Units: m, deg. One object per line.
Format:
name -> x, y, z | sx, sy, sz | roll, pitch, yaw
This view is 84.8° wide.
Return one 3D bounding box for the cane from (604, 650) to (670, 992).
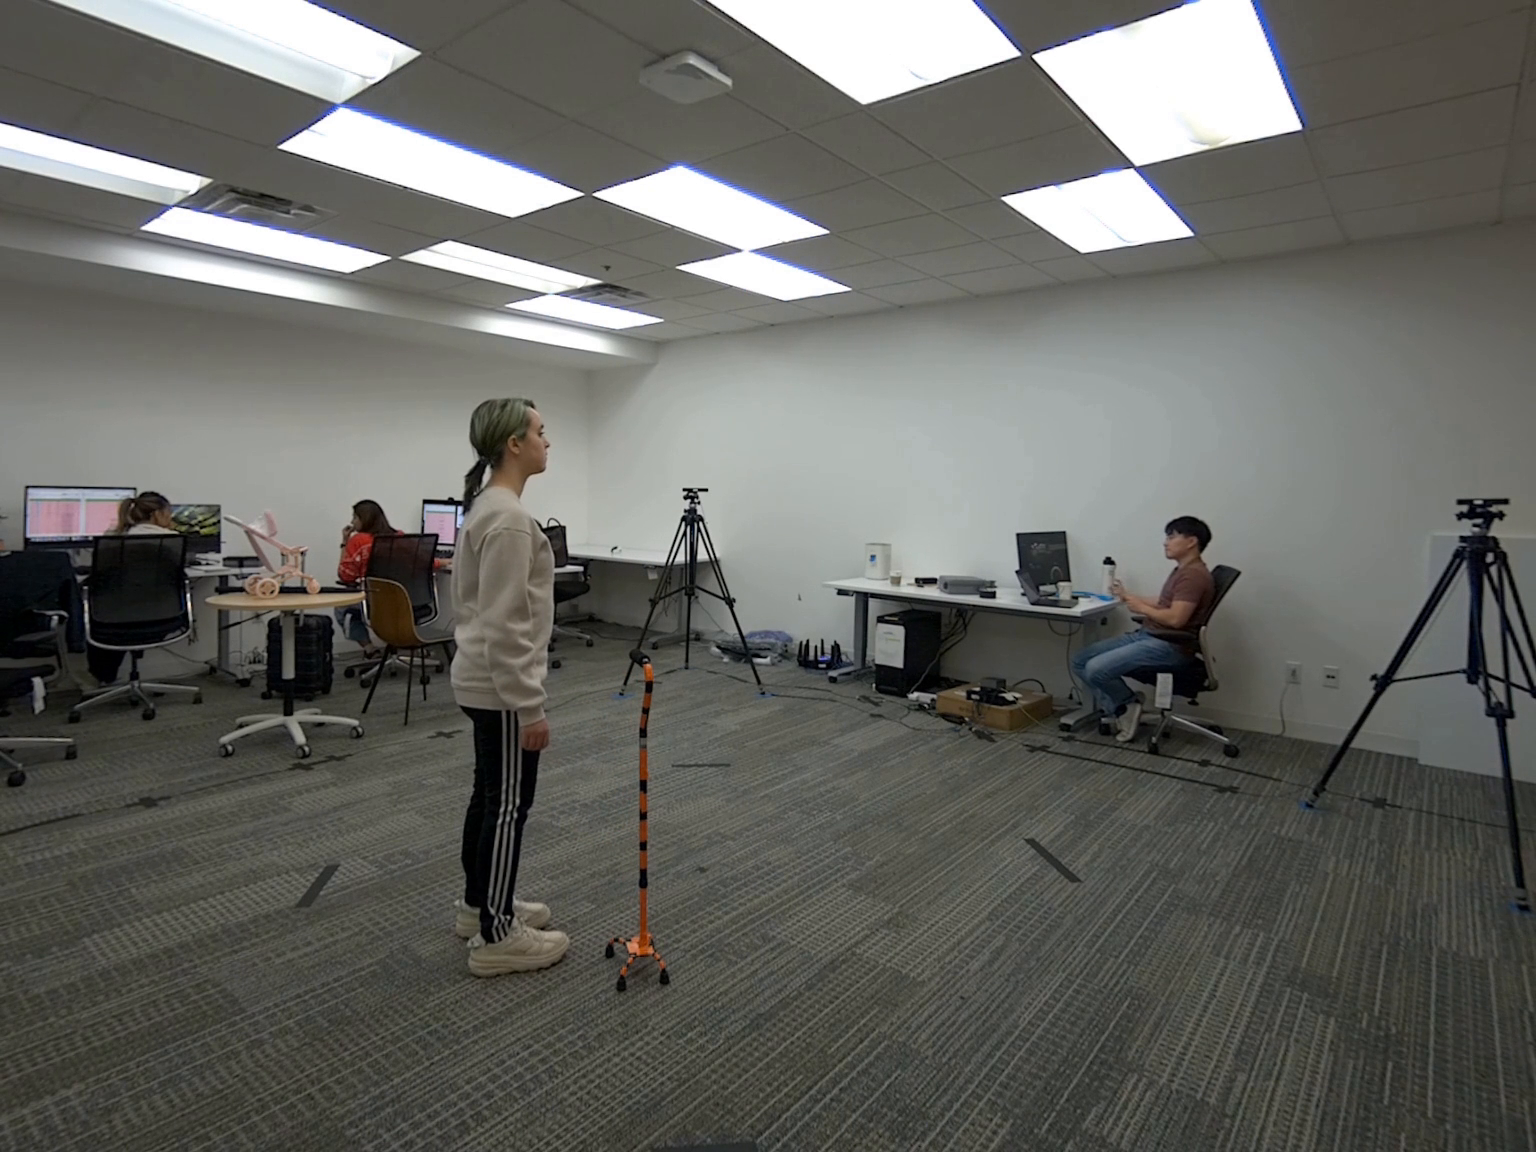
cane -> -0.384, 0.681, 2.441 | 0.148, 0.906, 0.211 | -1, 3, -21
